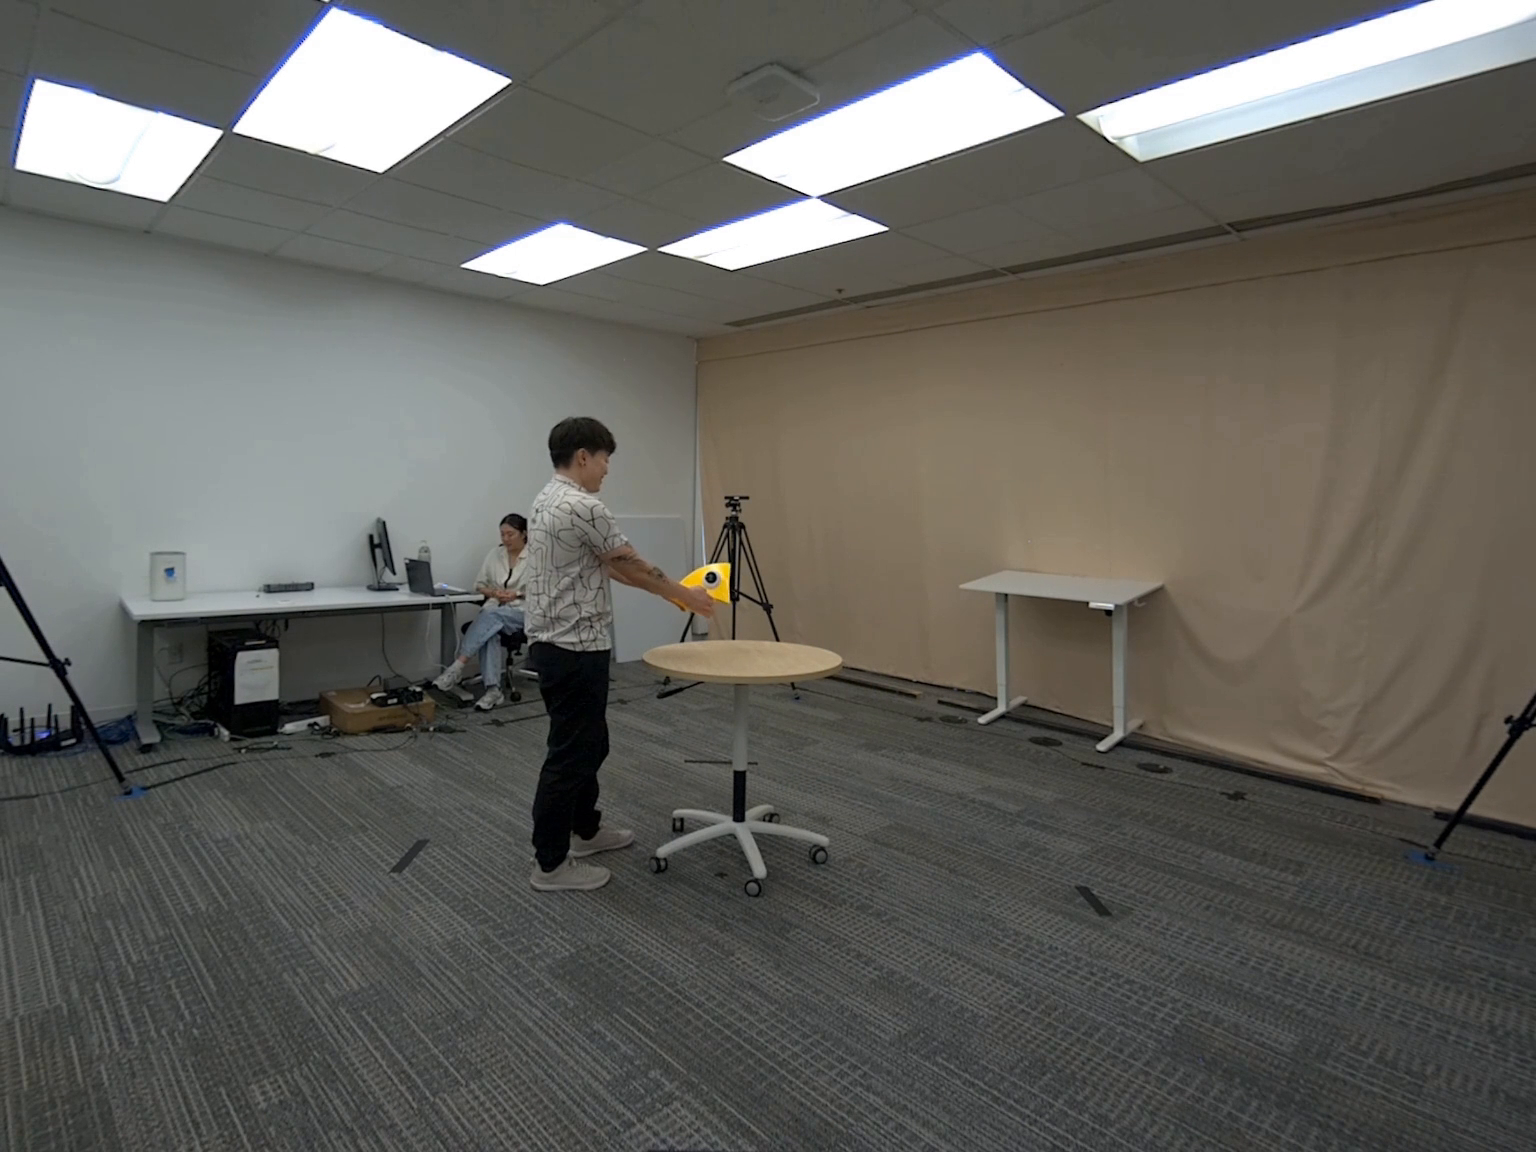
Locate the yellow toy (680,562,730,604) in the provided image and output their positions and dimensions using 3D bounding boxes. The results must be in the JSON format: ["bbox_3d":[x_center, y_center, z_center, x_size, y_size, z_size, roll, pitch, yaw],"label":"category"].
[{"bbox_3d":[-0.256,0.025,3.276,0.189,0.231,0.209,34,-12,-24],"label":"yellow toy"}]
